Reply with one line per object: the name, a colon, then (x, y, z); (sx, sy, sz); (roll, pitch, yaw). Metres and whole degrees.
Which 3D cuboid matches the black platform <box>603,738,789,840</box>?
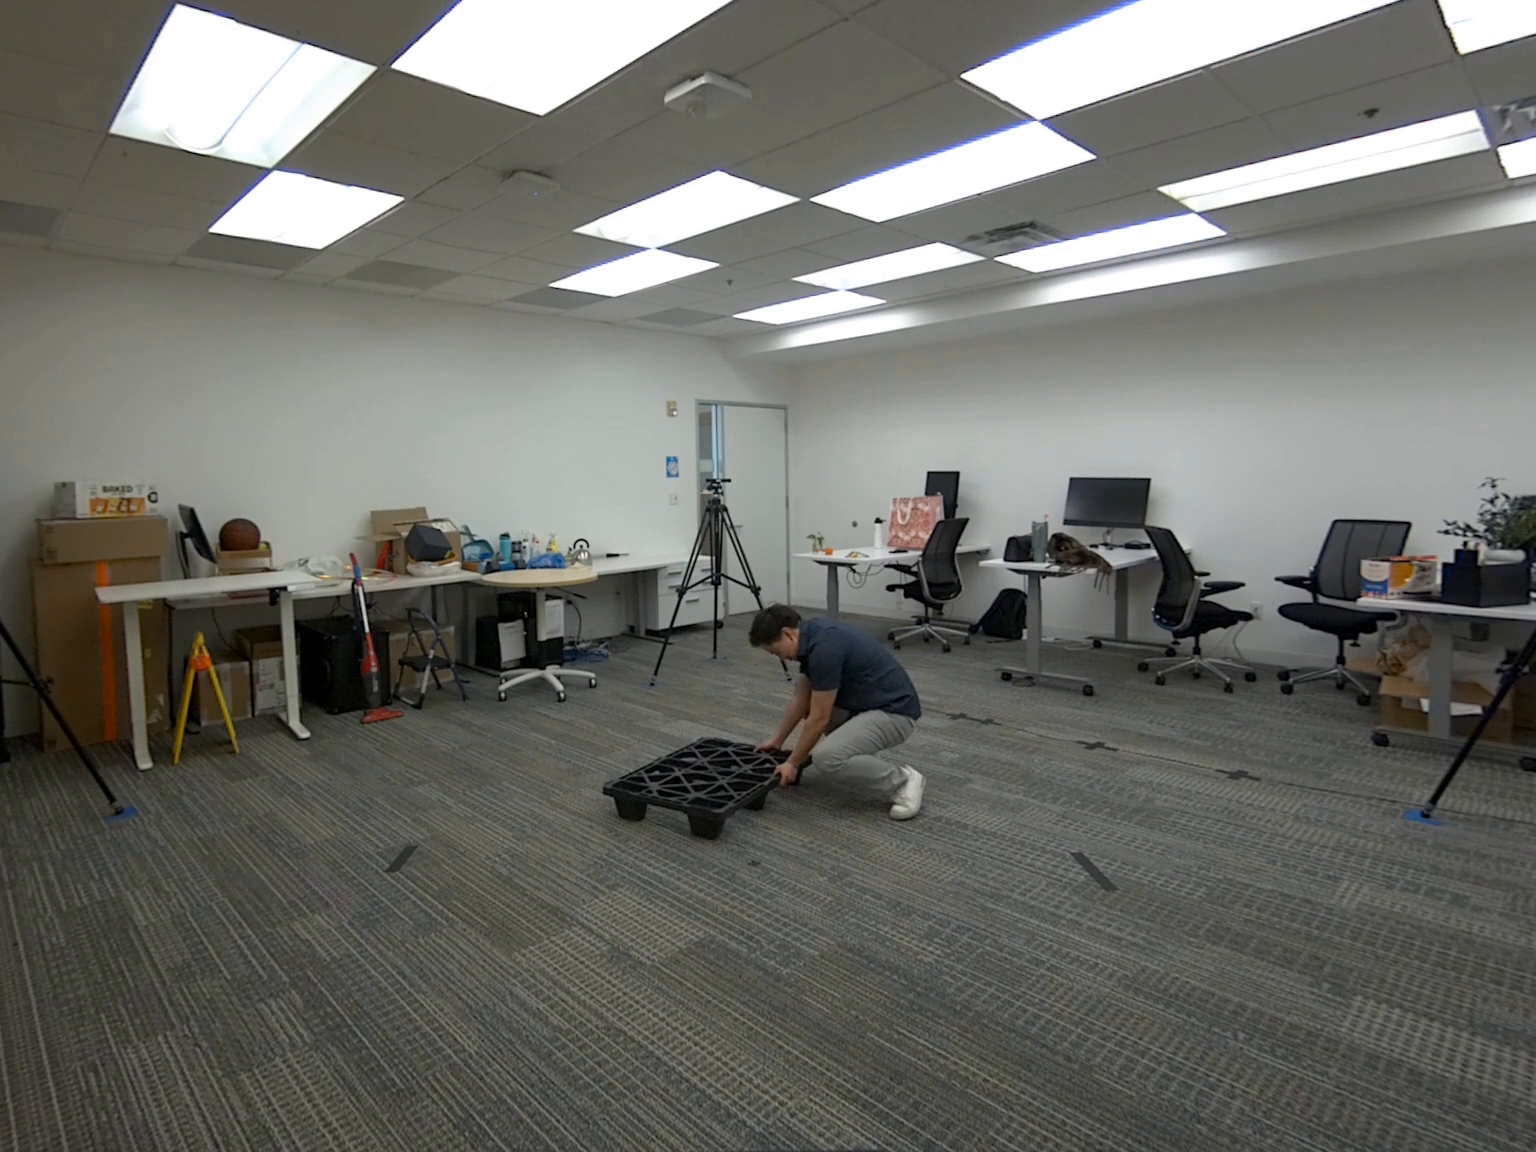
black platform: (-0.244, 0.910, 3.729); (0.621, 0.143, 0.788); (1, 6, 30)
